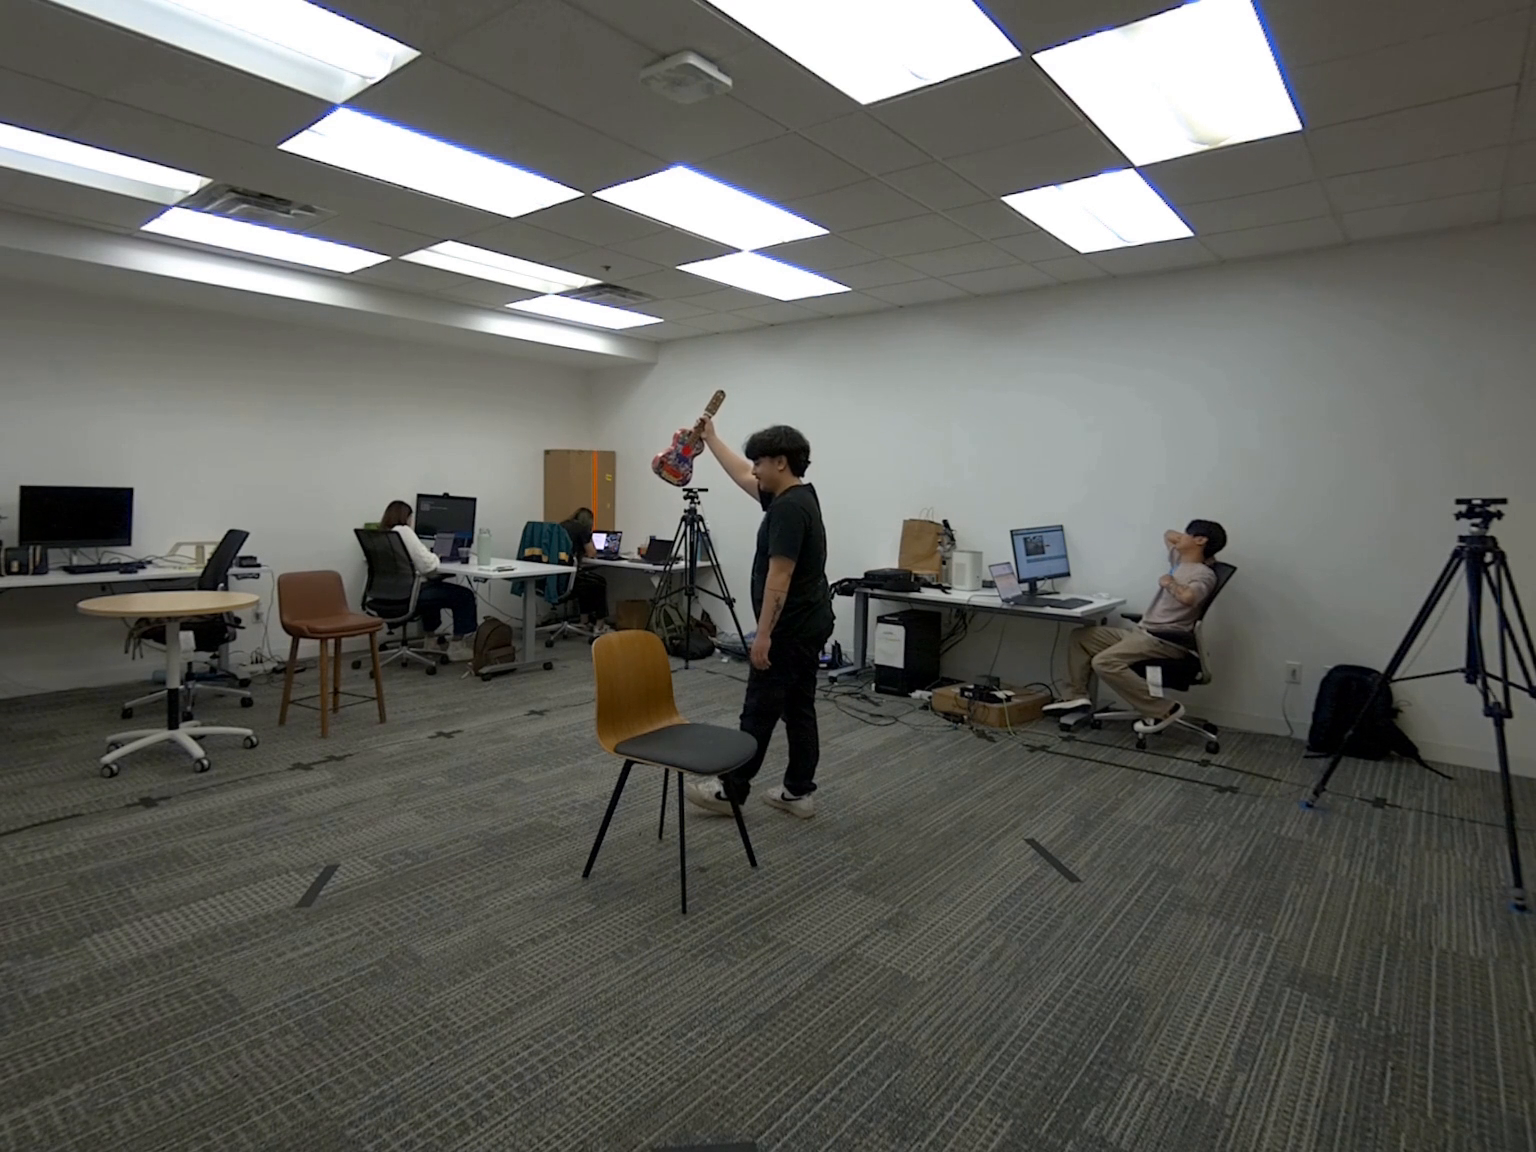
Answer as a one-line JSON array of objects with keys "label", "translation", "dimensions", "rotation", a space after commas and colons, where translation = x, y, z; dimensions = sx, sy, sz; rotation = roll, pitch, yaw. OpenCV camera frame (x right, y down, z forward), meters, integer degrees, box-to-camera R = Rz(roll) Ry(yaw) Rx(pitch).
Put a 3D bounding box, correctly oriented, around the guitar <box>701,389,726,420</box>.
[{"label": "guitar", "translation": [-0.343, -0.647, 4.013], "dimensions": [0.187, 0.498, 0.073], "rotation": [39, -2, -22]}]
